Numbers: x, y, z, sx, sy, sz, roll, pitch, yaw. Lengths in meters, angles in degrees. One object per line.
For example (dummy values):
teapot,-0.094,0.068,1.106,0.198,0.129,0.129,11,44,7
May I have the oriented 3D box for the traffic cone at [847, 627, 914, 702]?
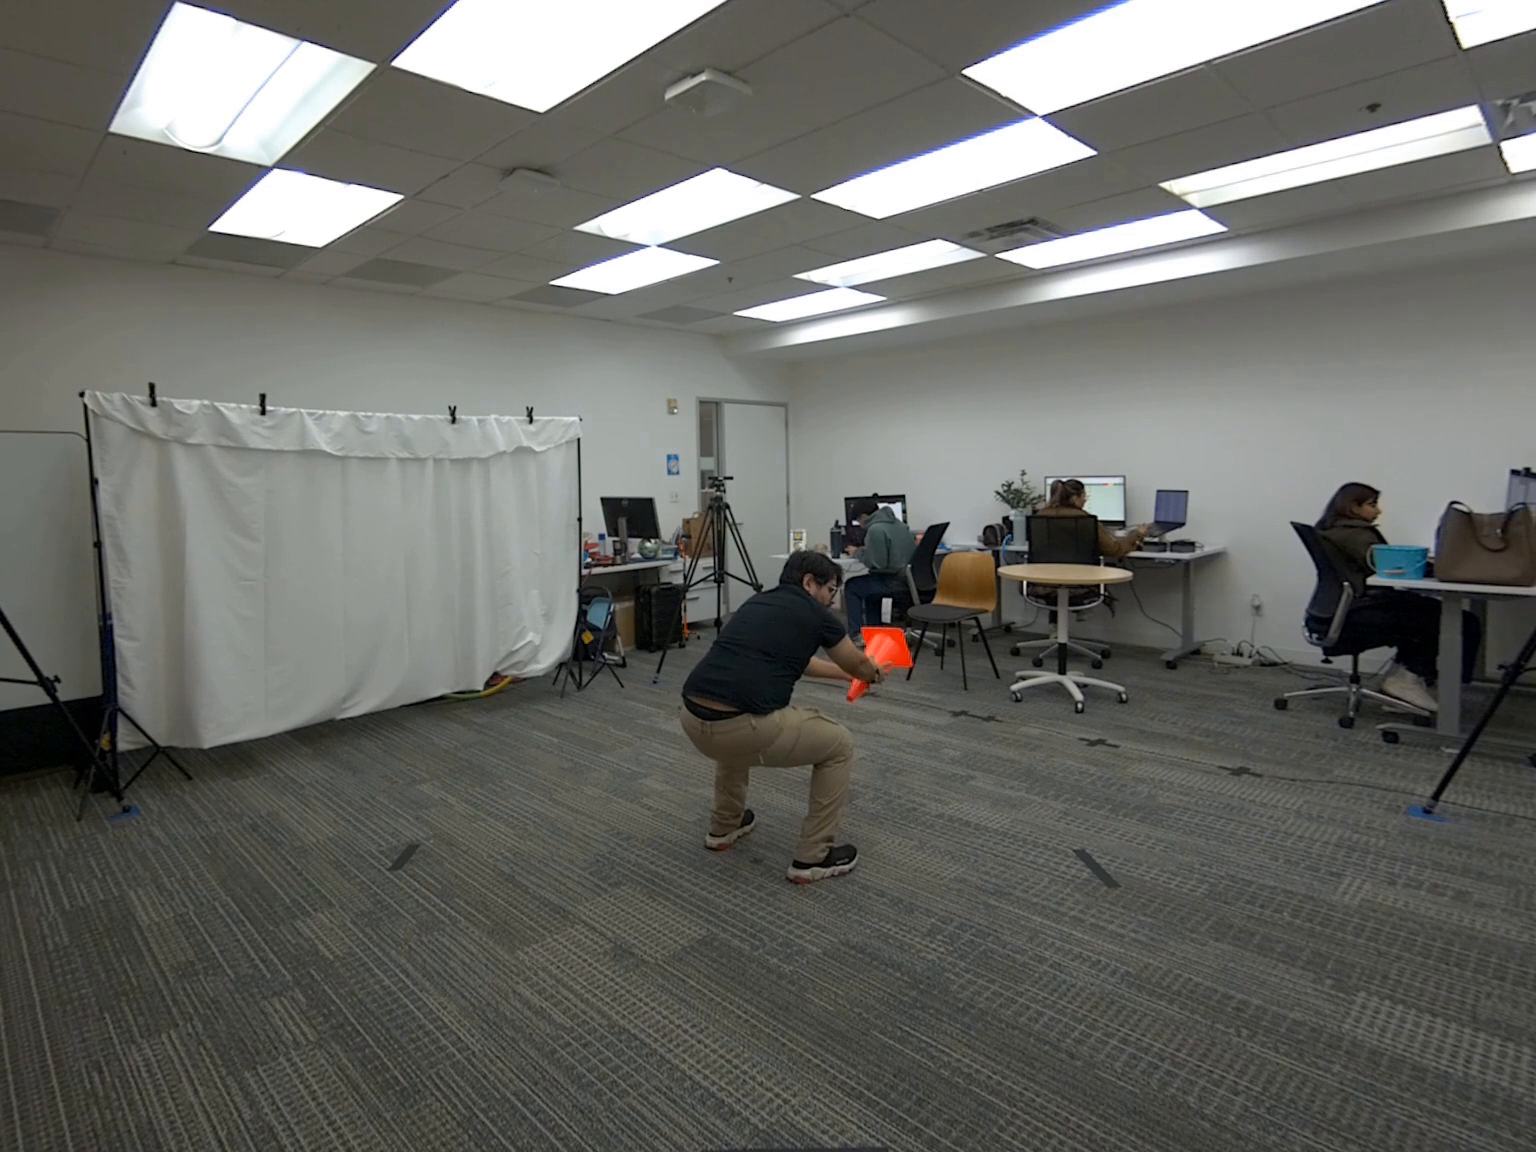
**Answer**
traffic cone,0.418,0.390,3.553,0.210,0.199,0.382,-3,25,37
